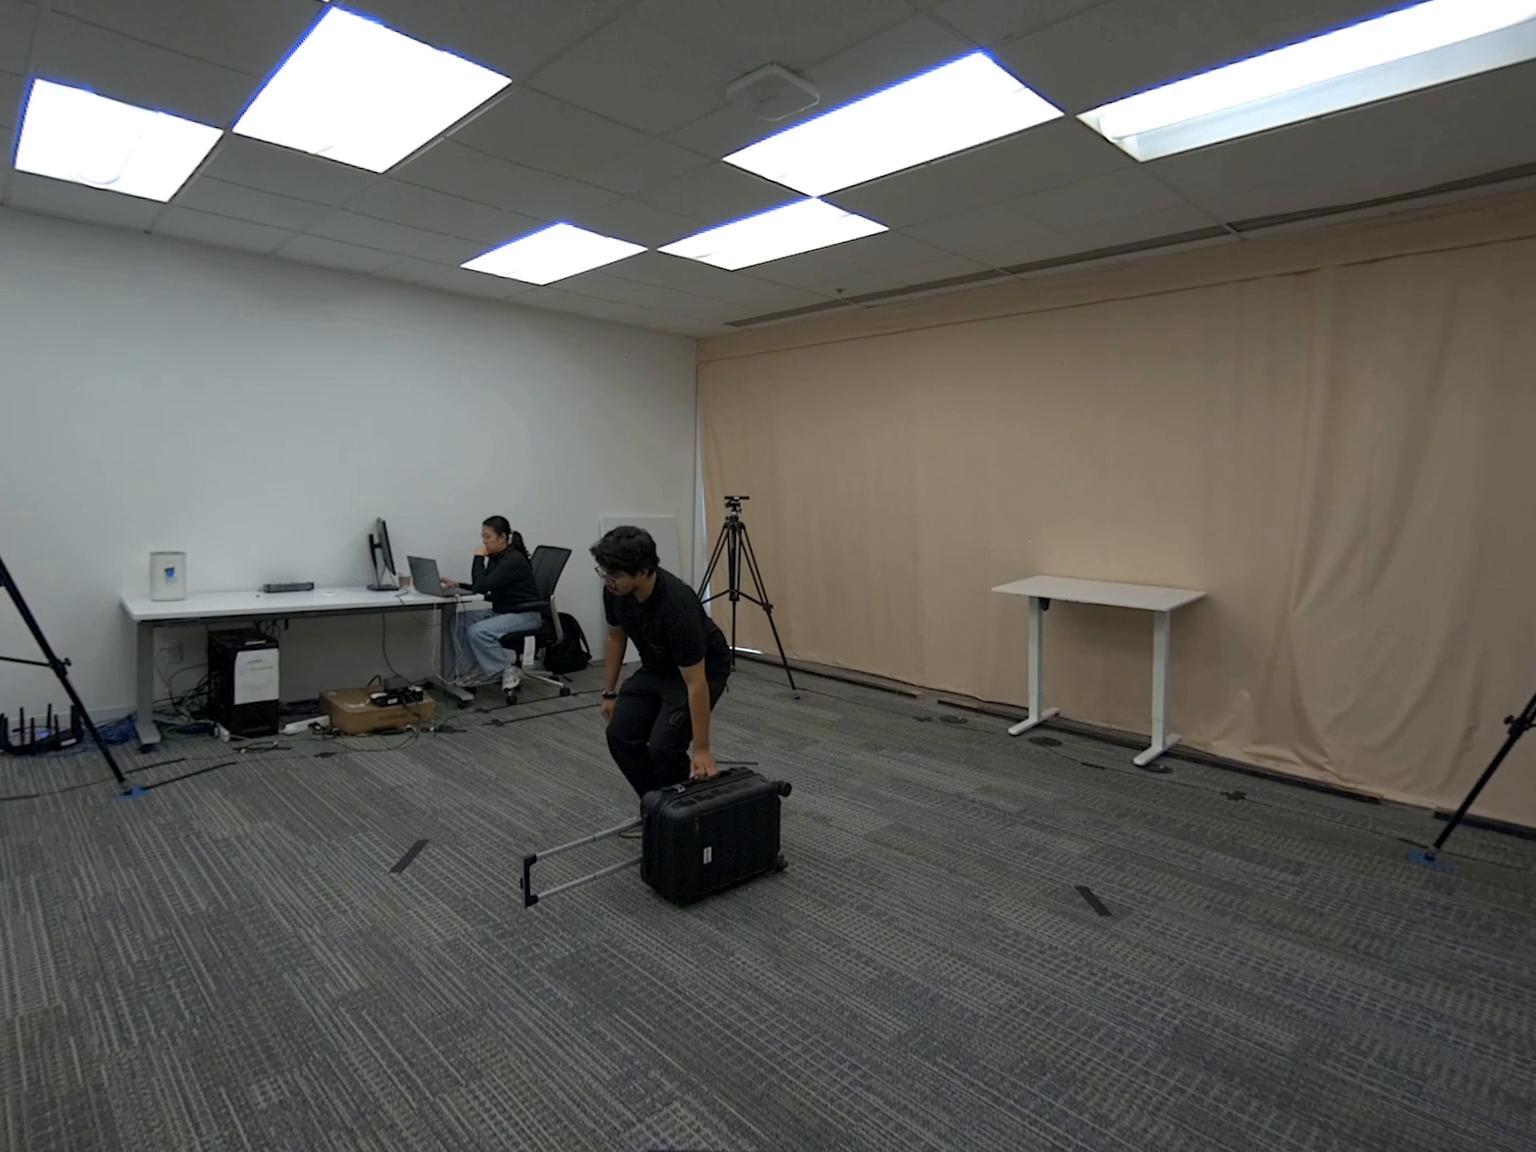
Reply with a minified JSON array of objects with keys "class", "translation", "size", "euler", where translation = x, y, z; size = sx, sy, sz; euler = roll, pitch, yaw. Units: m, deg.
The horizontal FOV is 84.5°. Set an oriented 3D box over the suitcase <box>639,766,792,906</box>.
[{"class":"suitcase","translation":[-0.340,0.932,2.886],"size":[0.957,0.383,0.264],"euler":[-4,7,-44]}]
